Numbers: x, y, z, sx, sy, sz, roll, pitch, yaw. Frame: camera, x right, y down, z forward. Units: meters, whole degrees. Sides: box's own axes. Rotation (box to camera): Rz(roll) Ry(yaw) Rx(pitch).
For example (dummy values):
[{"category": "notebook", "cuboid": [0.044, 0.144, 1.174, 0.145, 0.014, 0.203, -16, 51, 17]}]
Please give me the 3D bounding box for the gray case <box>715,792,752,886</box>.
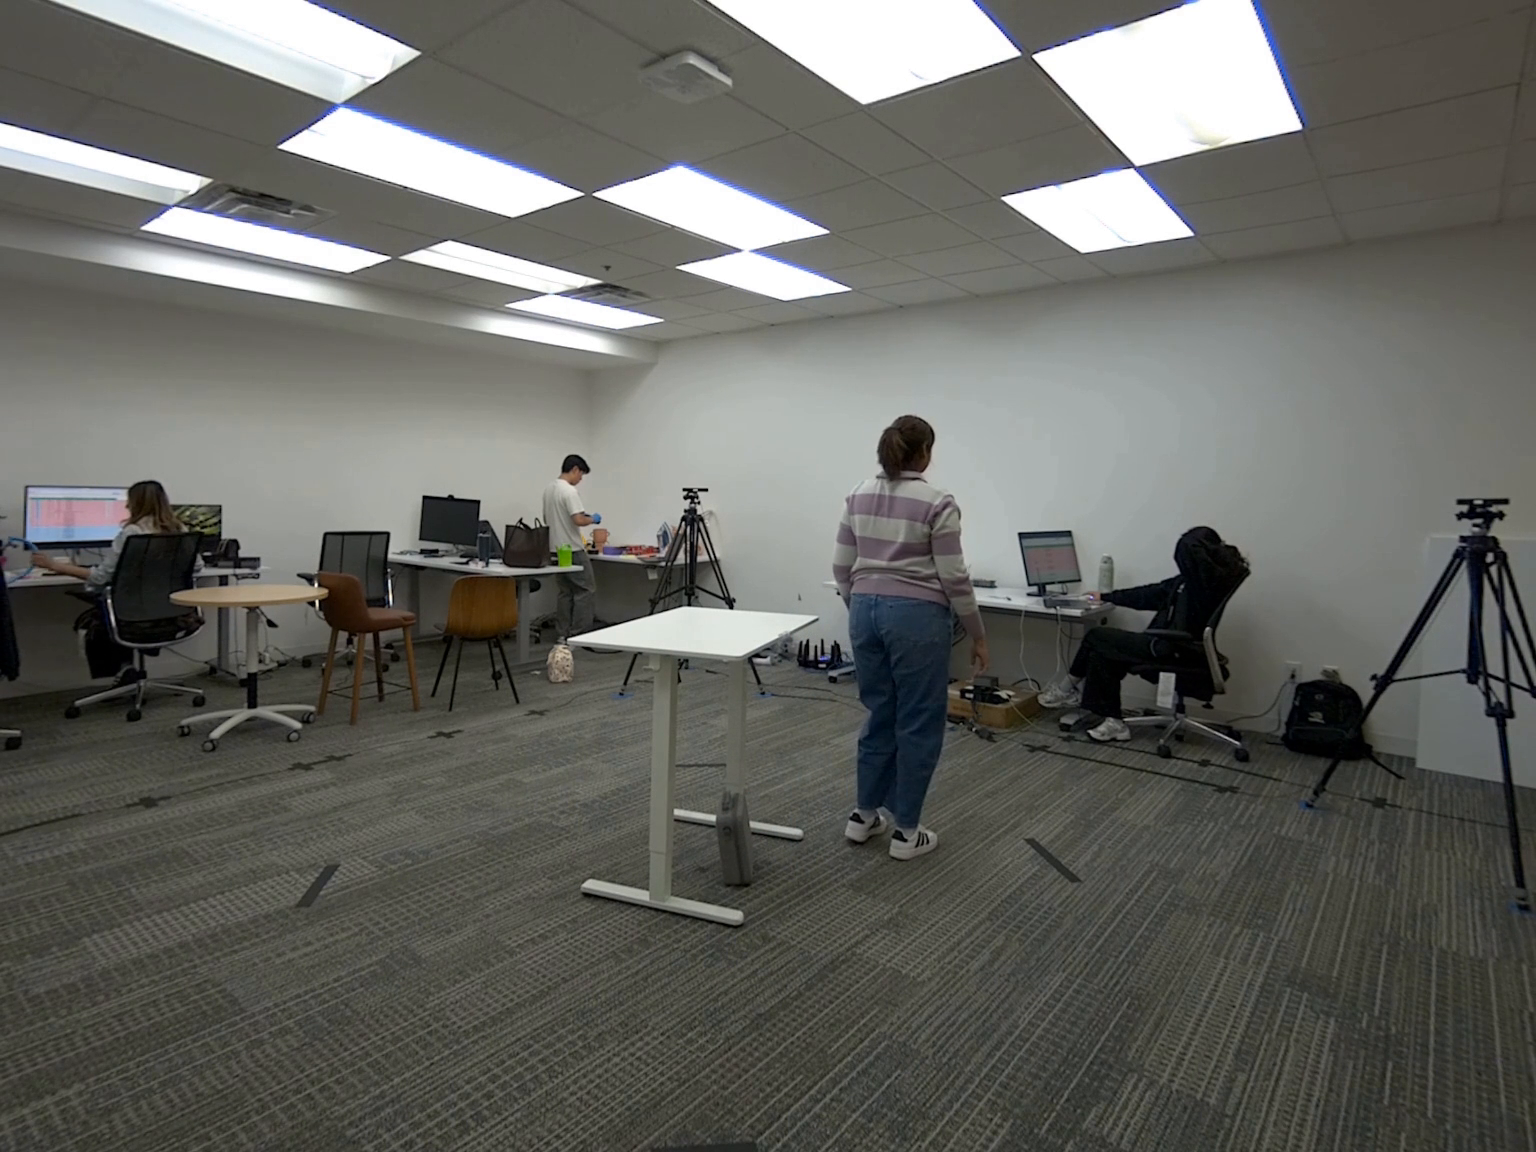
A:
[{"category": "gray case", "cuboid": [-0.133, 0.942, 3.071, 0.104, 0.260, 0.257, -7, 2, 1]}]
